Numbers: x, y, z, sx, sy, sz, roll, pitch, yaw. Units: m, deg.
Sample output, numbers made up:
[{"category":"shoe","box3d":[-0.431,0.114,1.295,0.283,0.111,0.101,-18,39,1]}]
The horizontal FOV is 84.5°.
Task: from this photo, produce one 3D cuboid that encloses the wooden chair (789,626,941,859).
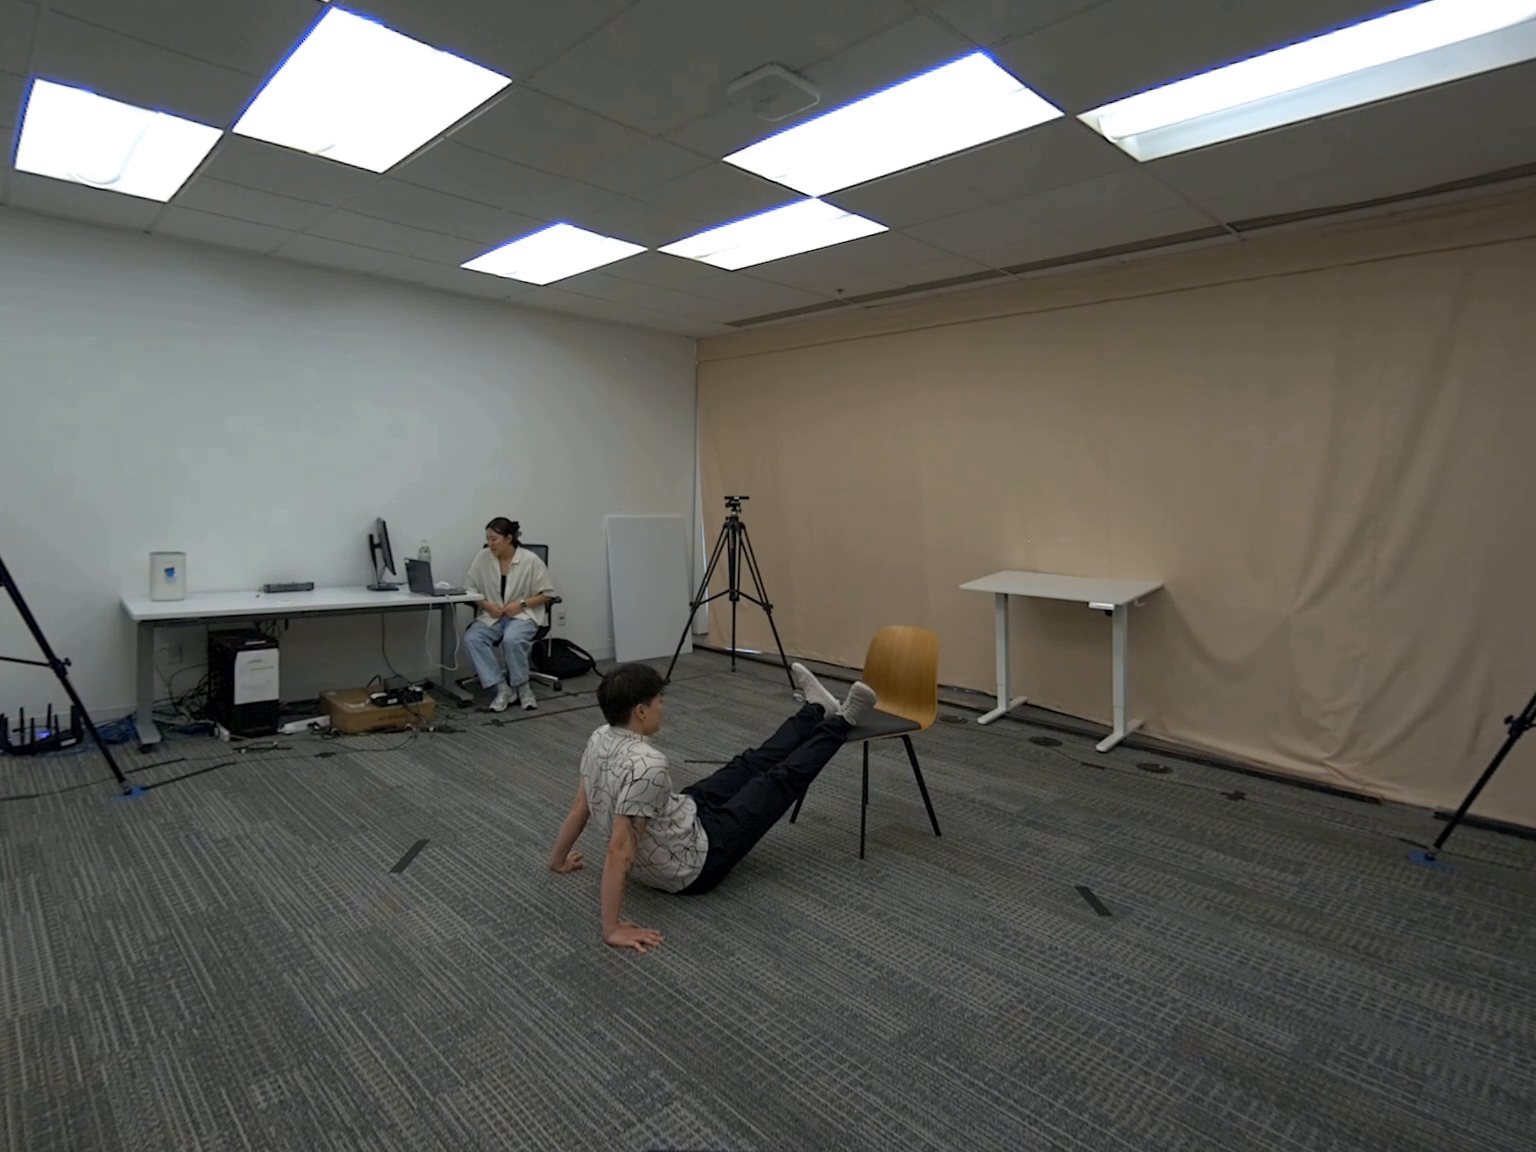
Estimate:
[{"category":"wooden chair","box3d":[0.407,0.649,3.548,0.510,0.877,0.490,5,1,-36]}]
